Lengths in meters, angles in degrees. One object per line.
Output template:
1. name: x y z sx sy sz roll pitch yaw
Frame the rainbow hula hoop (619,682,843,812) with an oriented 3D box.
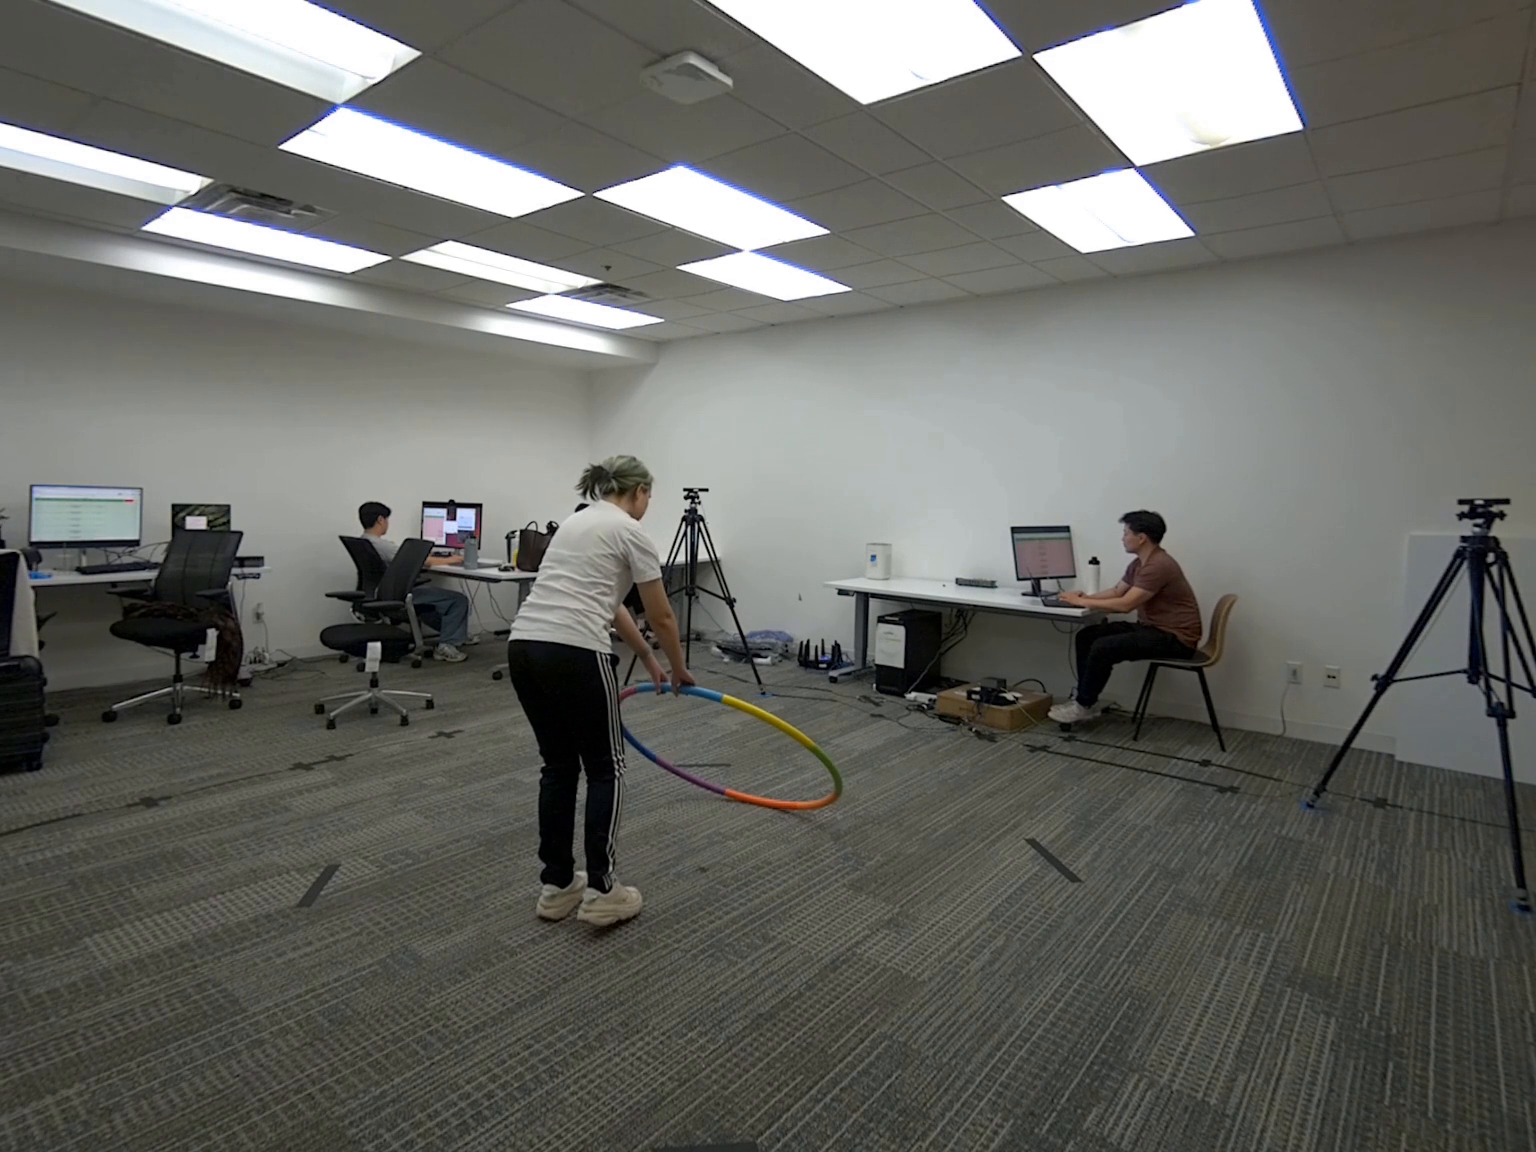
1. rainbow hula hoop: -0.189 0.700 3.432 0.993 0.036 0.953 18 -32 10
